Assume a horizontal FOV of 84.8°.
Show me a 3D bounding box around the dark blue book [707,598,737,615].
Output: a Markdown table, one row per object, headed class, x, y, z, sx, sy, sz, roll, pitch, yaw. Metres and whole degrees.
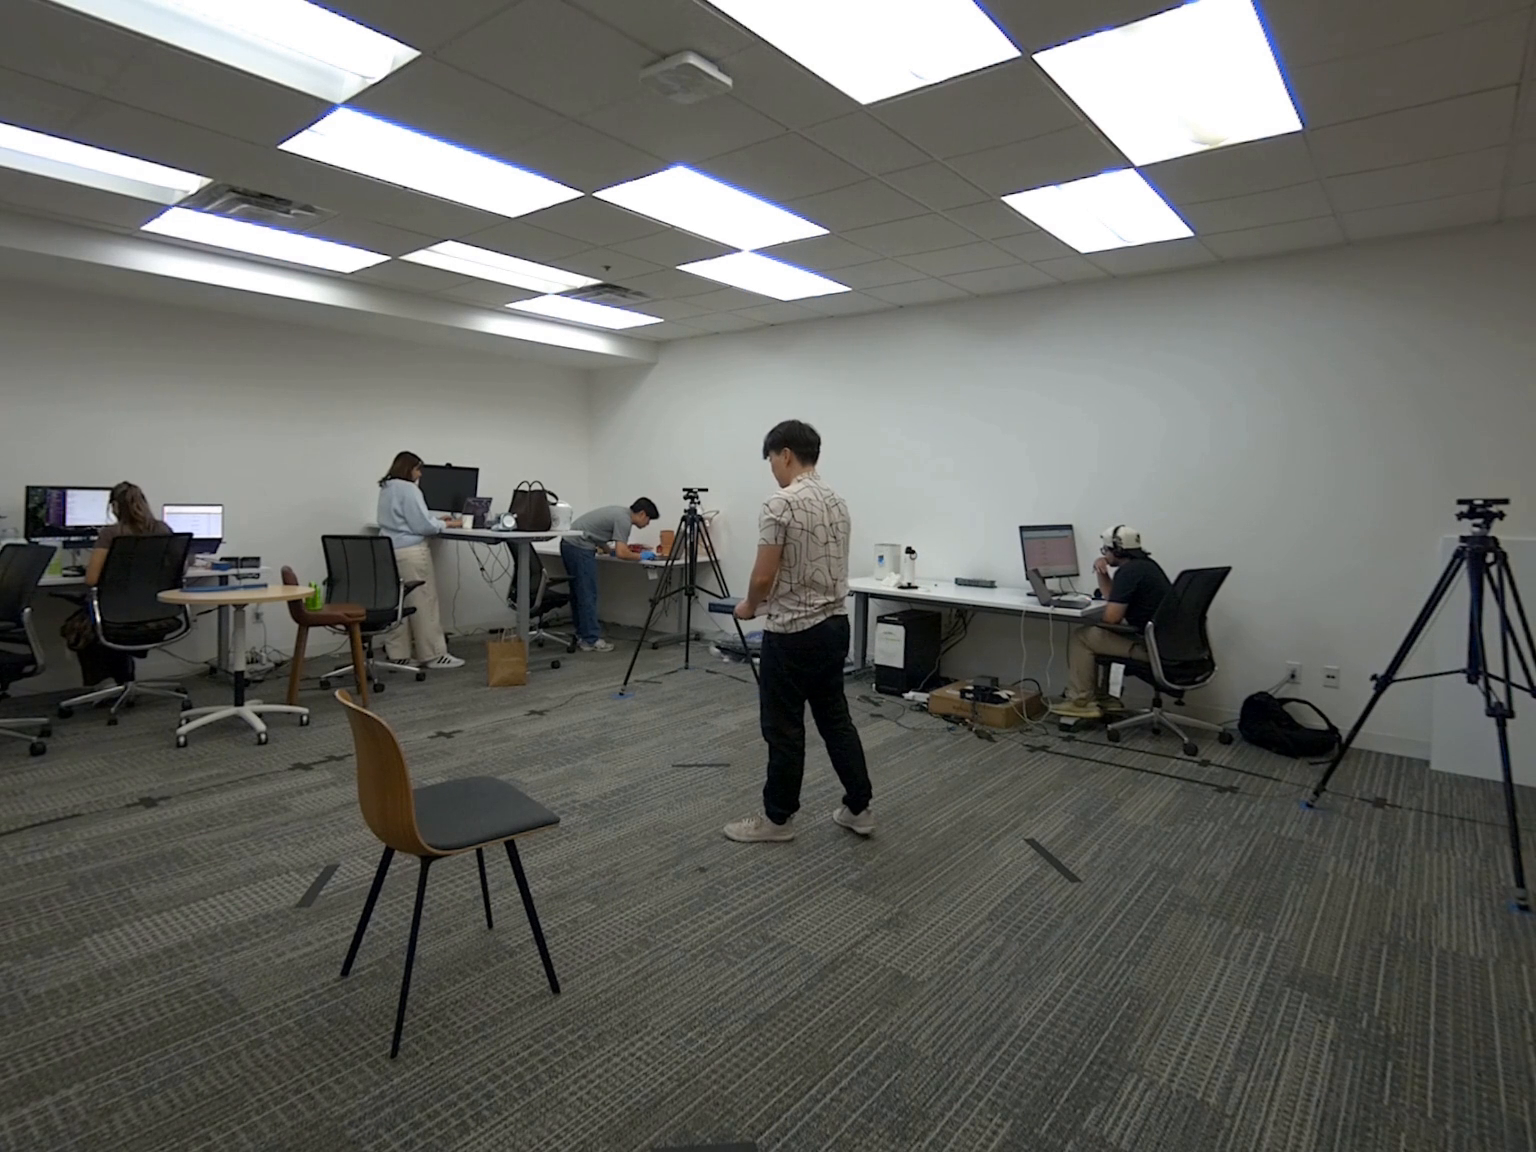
| class | x | y | z | sx | sy | sz | roll | pitch | yaw |
| --- | --- | --- | --- | --- | --- | --- | --- | --- | --- |
| dark blue book | -0.113 | 0.127 | 3.614 | 0.253 | 0.045 | 0.159 | 4 | 10 | 35 |
